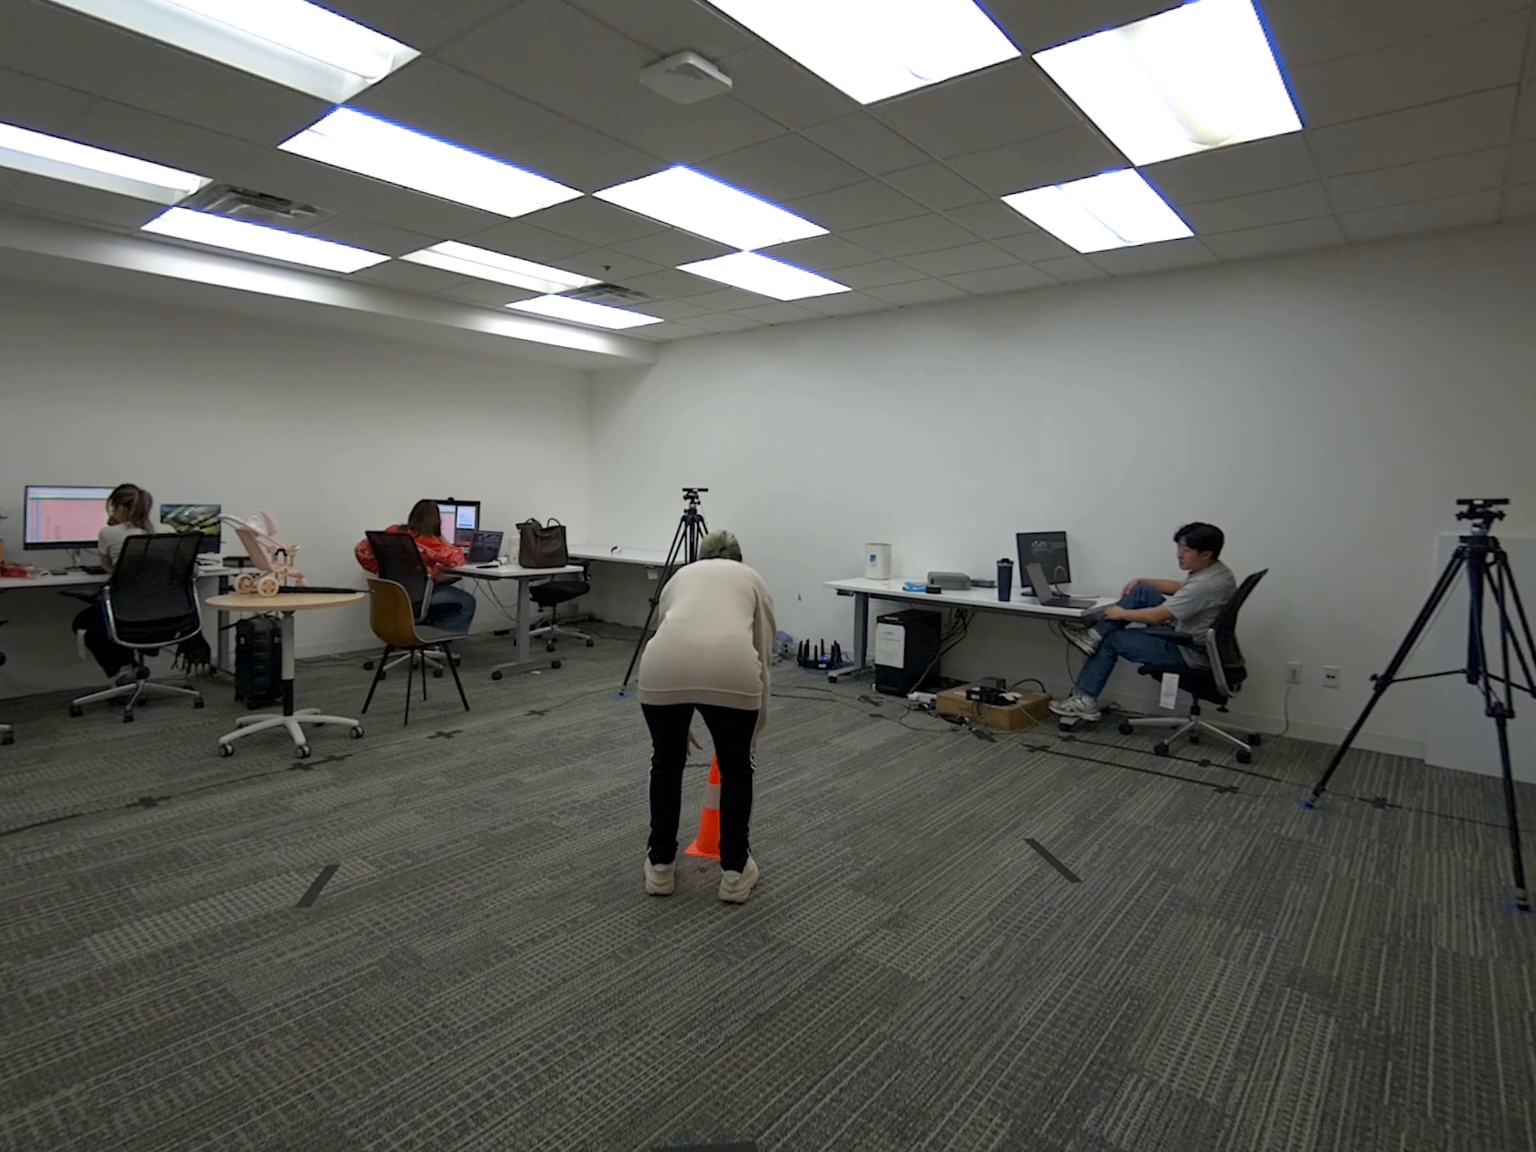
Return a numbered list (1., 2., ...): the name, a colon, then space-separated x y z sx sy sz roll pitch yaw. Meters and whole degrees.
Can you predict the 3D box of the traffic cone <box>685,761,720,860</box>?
1. traffic cone: -0.210 0.865 3.296 0.208 0.383 0.201 1 3 13
